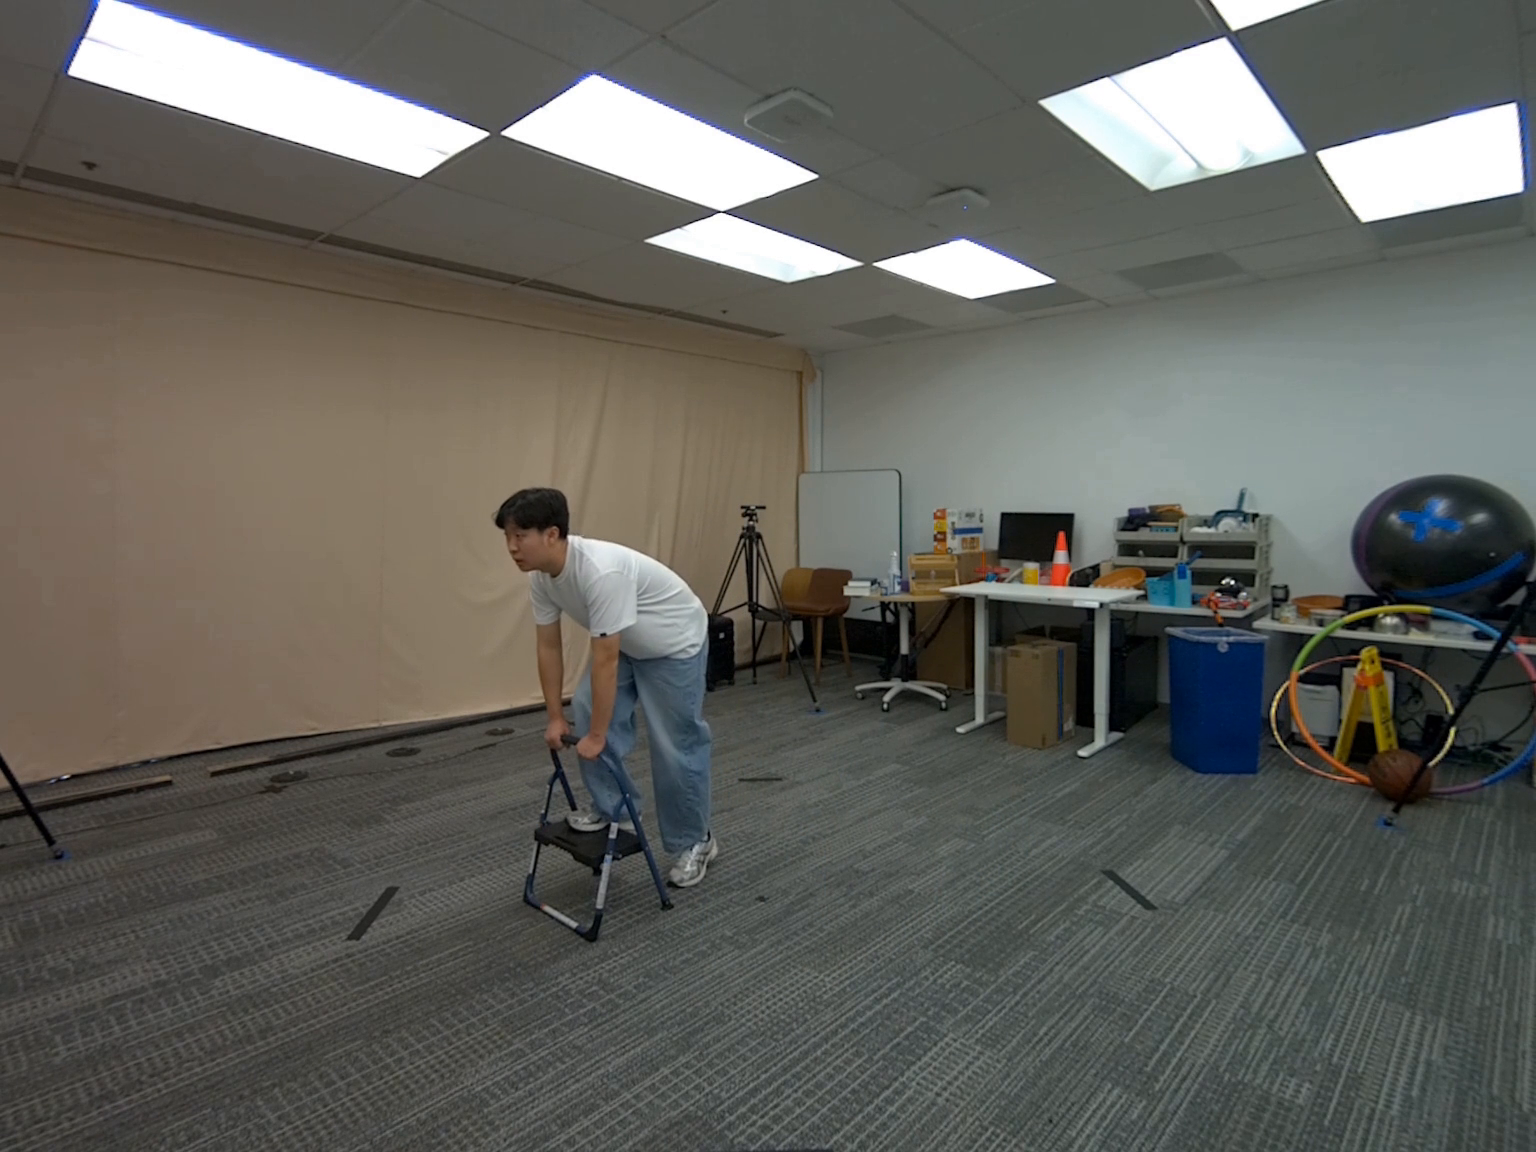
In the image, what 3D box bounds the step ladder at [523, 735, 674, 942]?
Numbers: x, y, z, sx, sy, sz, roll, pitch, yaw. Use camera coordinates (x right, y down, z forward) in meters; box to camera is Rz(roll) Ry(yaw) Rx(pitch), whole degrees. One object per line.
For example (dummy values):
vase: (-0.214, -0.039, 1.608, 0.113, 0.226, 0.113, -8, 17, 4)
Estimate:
step ladder: (-0.604, 0.849, 2.933, 0.445, 0.605, 0.338, 2, 4, 43)
